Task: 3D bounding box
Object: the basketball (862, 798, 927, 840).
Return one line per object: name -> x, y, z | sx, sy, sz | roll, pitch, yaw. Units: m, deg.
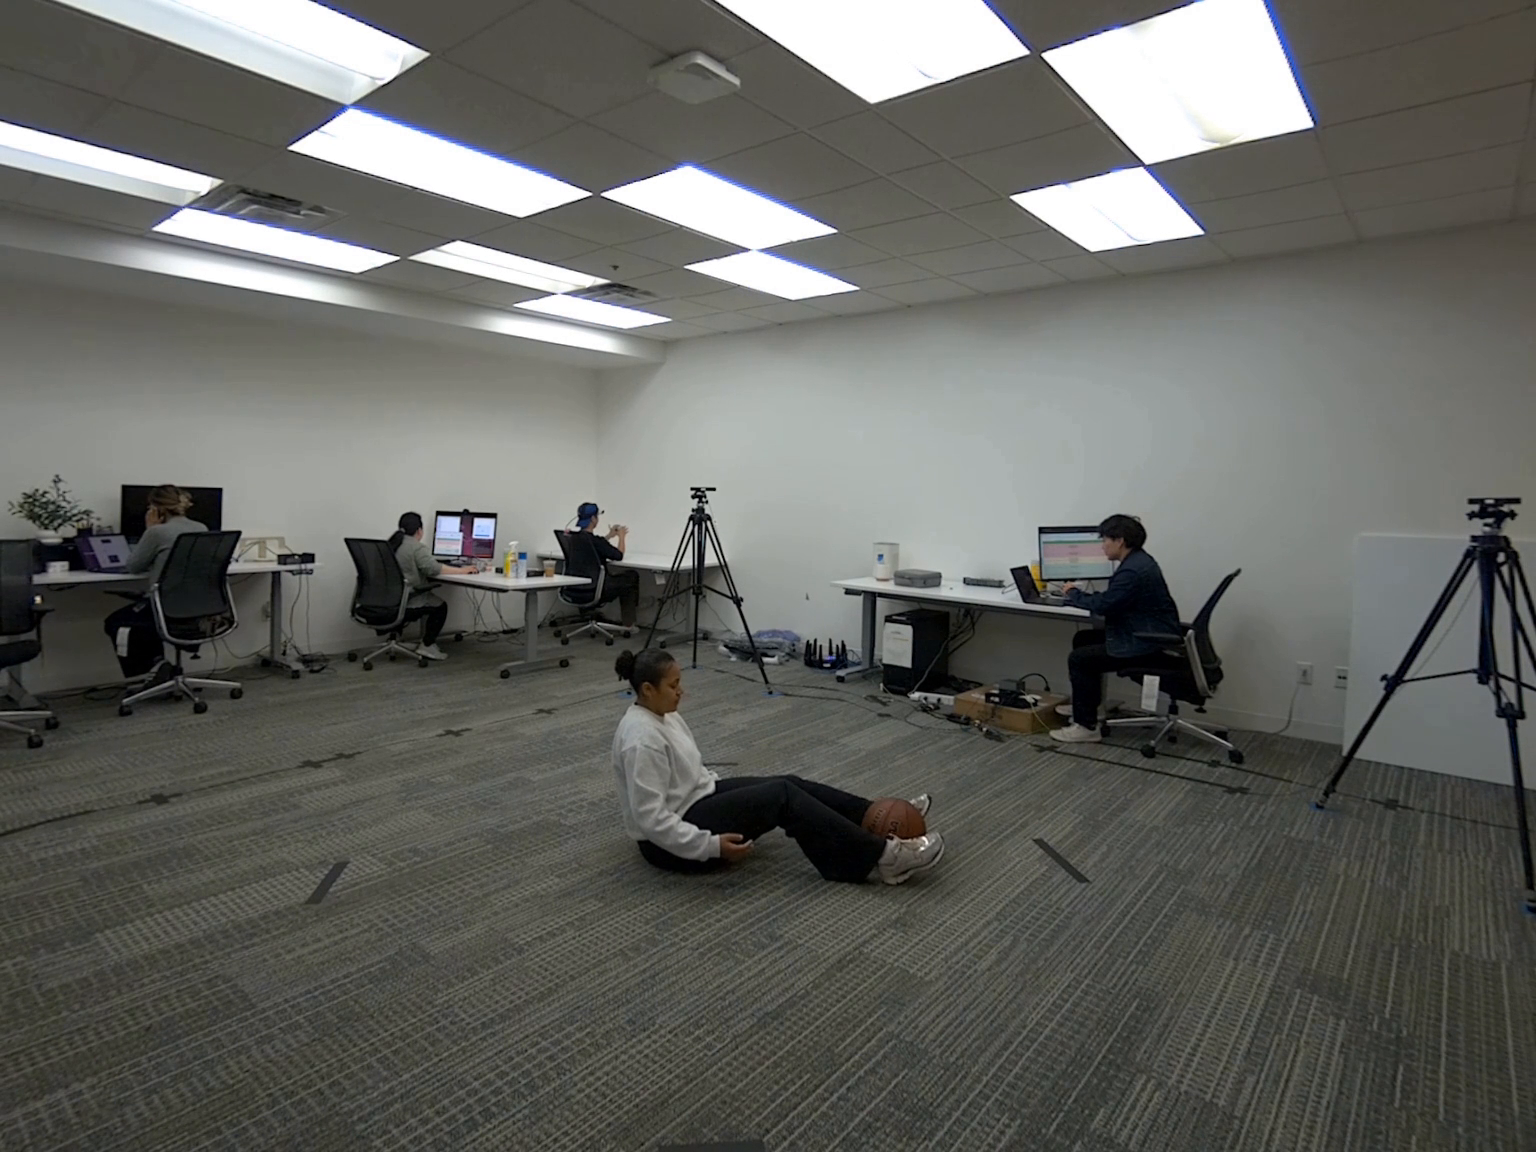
basketball -> 0.467, 0.956, 3.196 | 0.235, 0.235, 0.237 | 1, 4, -2
